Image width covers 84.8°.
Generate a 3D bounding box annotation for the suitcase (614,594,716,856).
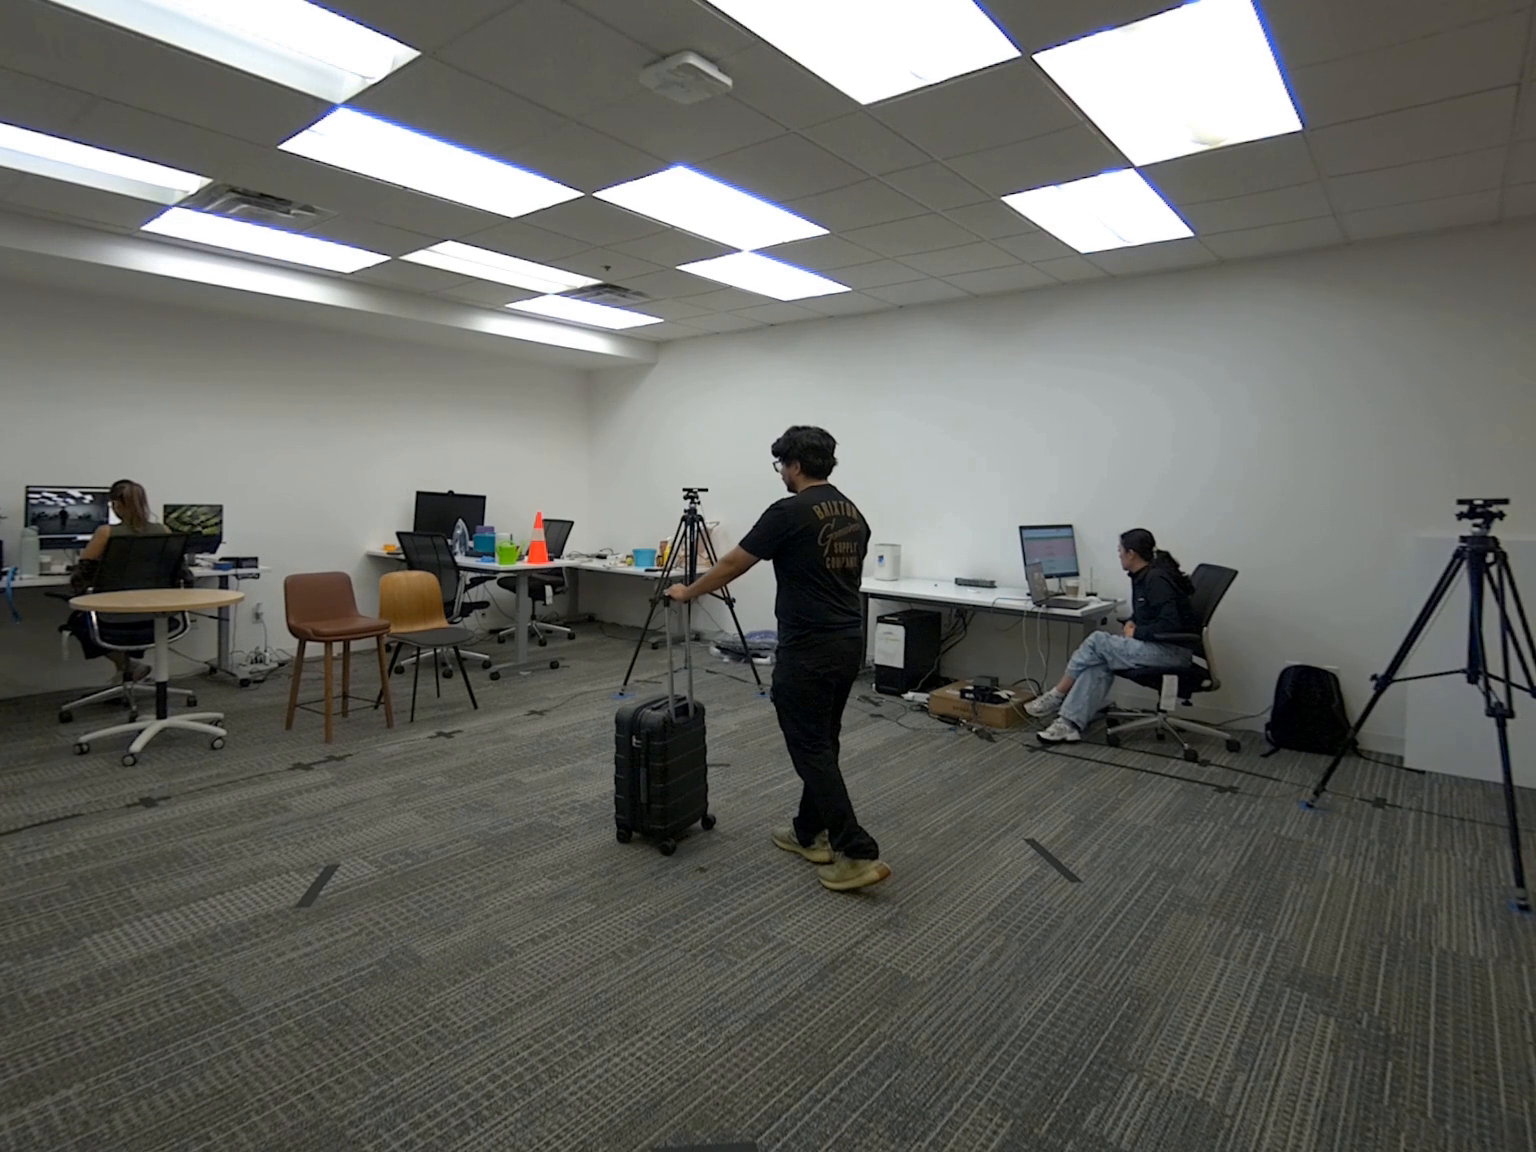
[{"bbox_3d":[-0.448,0.563,3.412,0.264,0.977,0.374,-3,2,29],"label":"suitcase"}]
